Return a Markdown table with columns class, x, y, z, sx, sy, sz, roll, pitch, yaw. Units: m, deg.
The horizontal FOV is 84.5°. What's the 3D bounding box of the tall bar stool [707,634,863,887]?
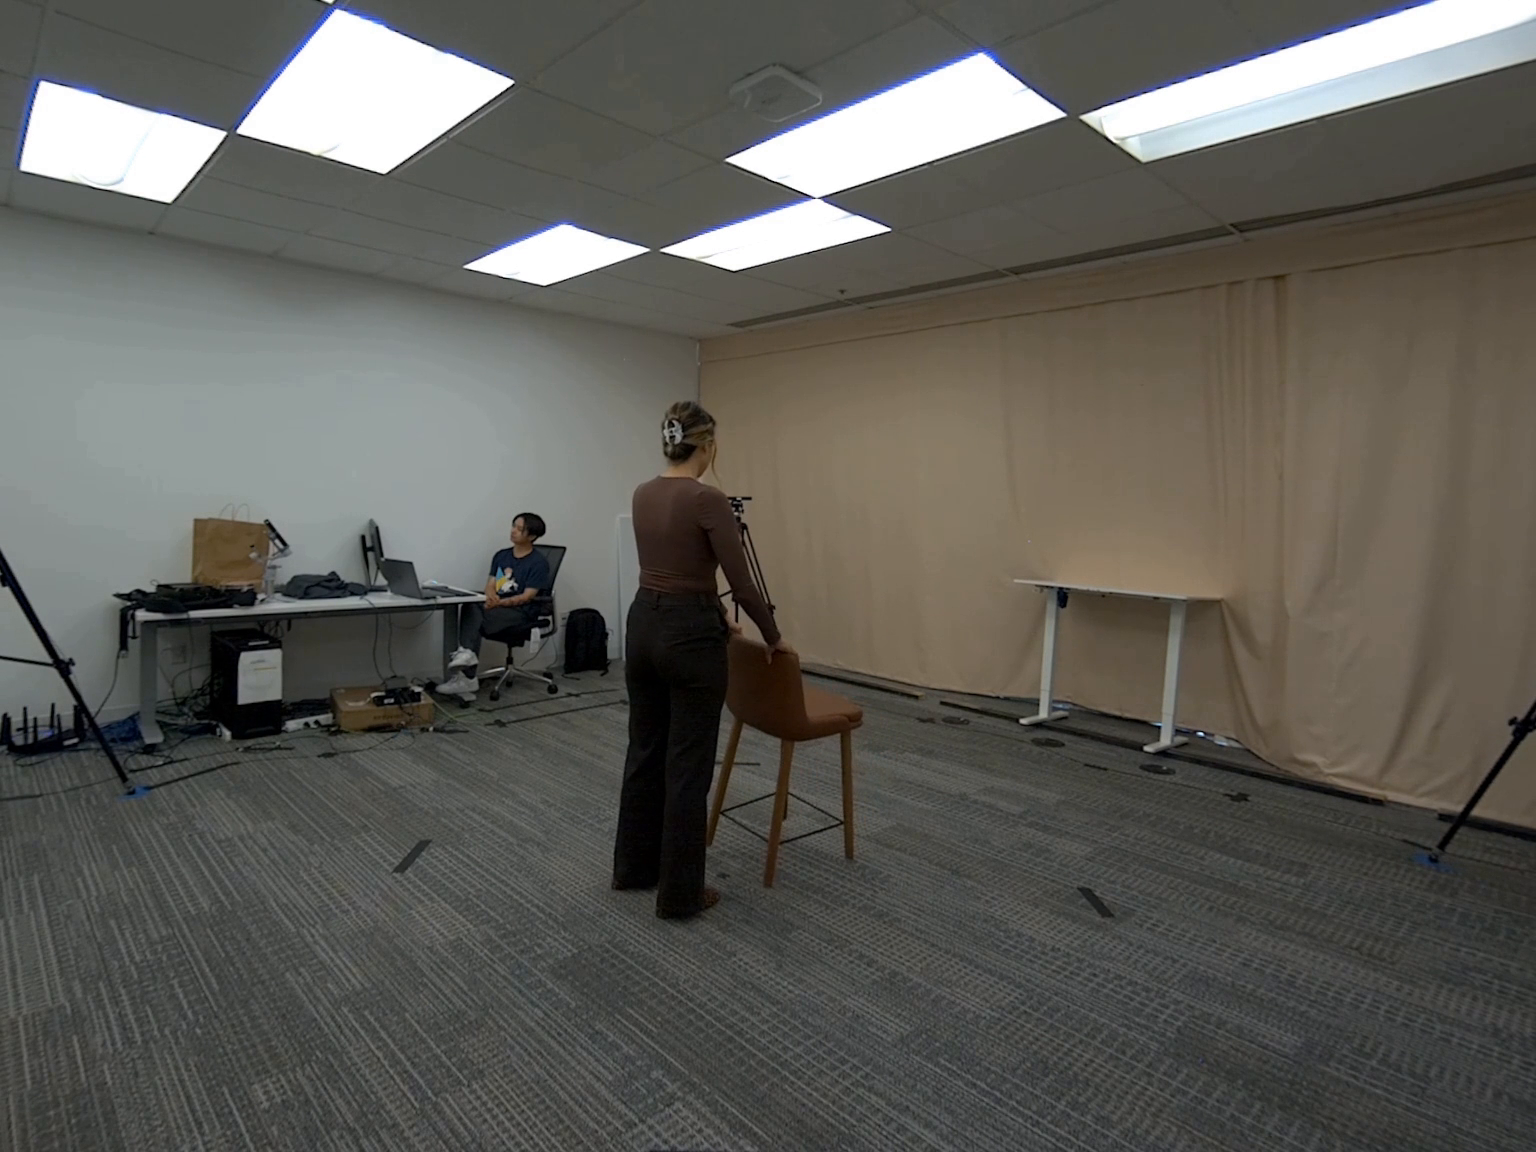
| class | x | y | z | sx | sy | sz | roll | pitch | yaw |
| --- | --- | --- | --- | --- | --- | --- | --- | --- | --- |
| tall bar stool | 0.061 | 0.645 | 3.232 | 0.457 | 0.884 | 0.469 | -4 | 12 | -41 |
